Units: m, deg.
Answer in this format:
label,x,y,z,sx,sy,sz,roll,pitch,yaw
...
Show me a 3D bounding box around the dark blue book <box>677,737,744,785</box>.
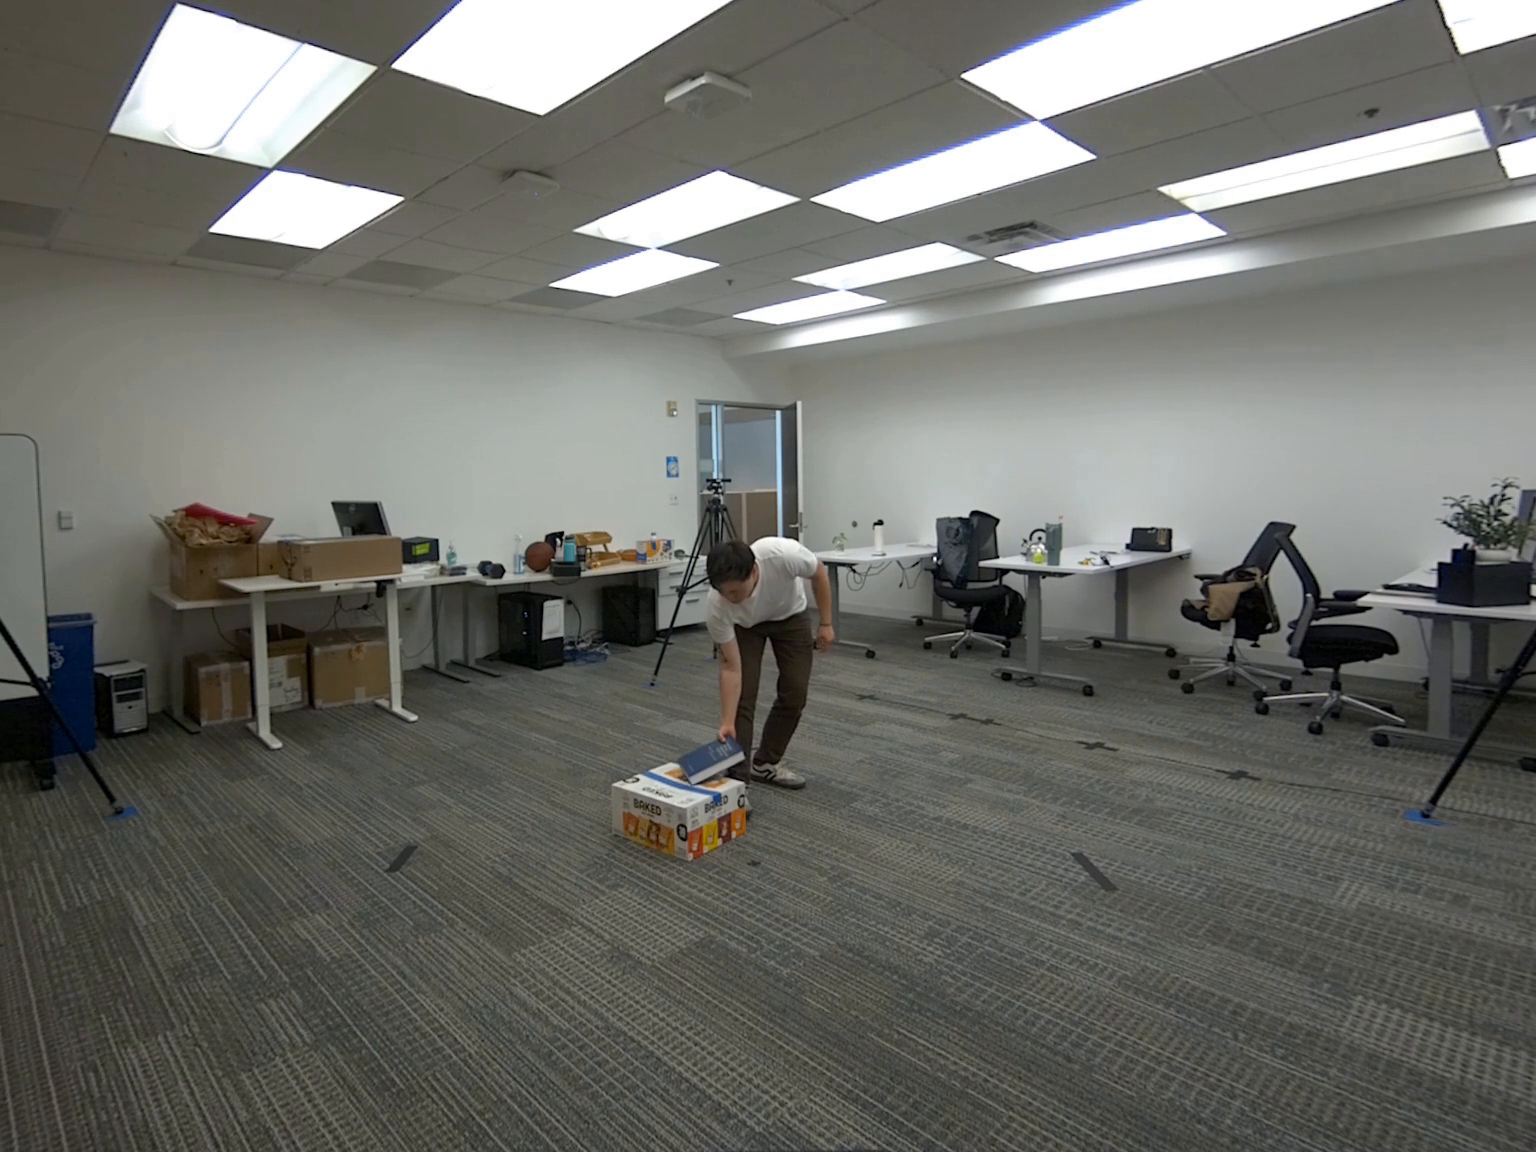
label,x,y,z,sx,sy,sz,roll,pitch,yaw
dark blue book,-0.236,0.741,3.461,0.243,0.044,0.168,-21,21,-11
